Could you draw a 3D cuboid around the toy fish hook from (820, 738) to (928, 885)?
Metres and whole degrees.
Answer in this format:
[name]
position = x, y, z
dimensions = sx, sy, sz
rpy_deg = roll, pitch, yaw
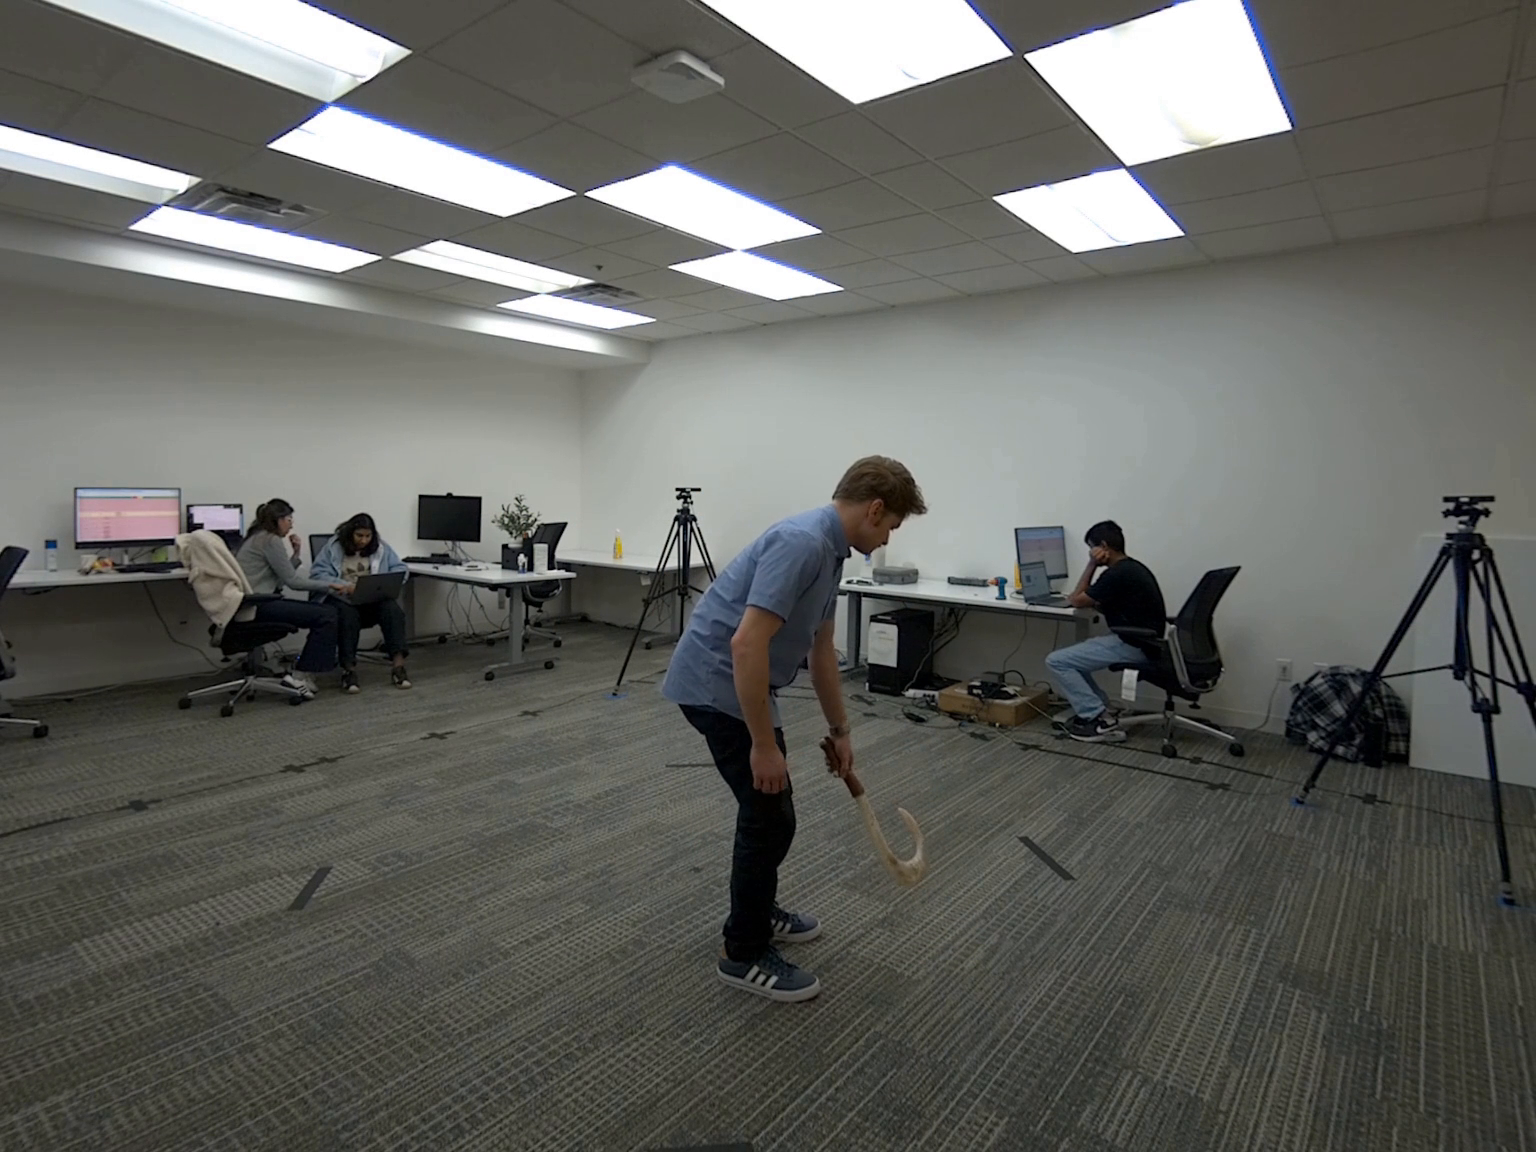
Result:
[toy fish hook]
position = 0.320, 0.702, 2.586
dimensions = 0.048, 0.514, 0.220
rpy_deg = -39, -12, 35
